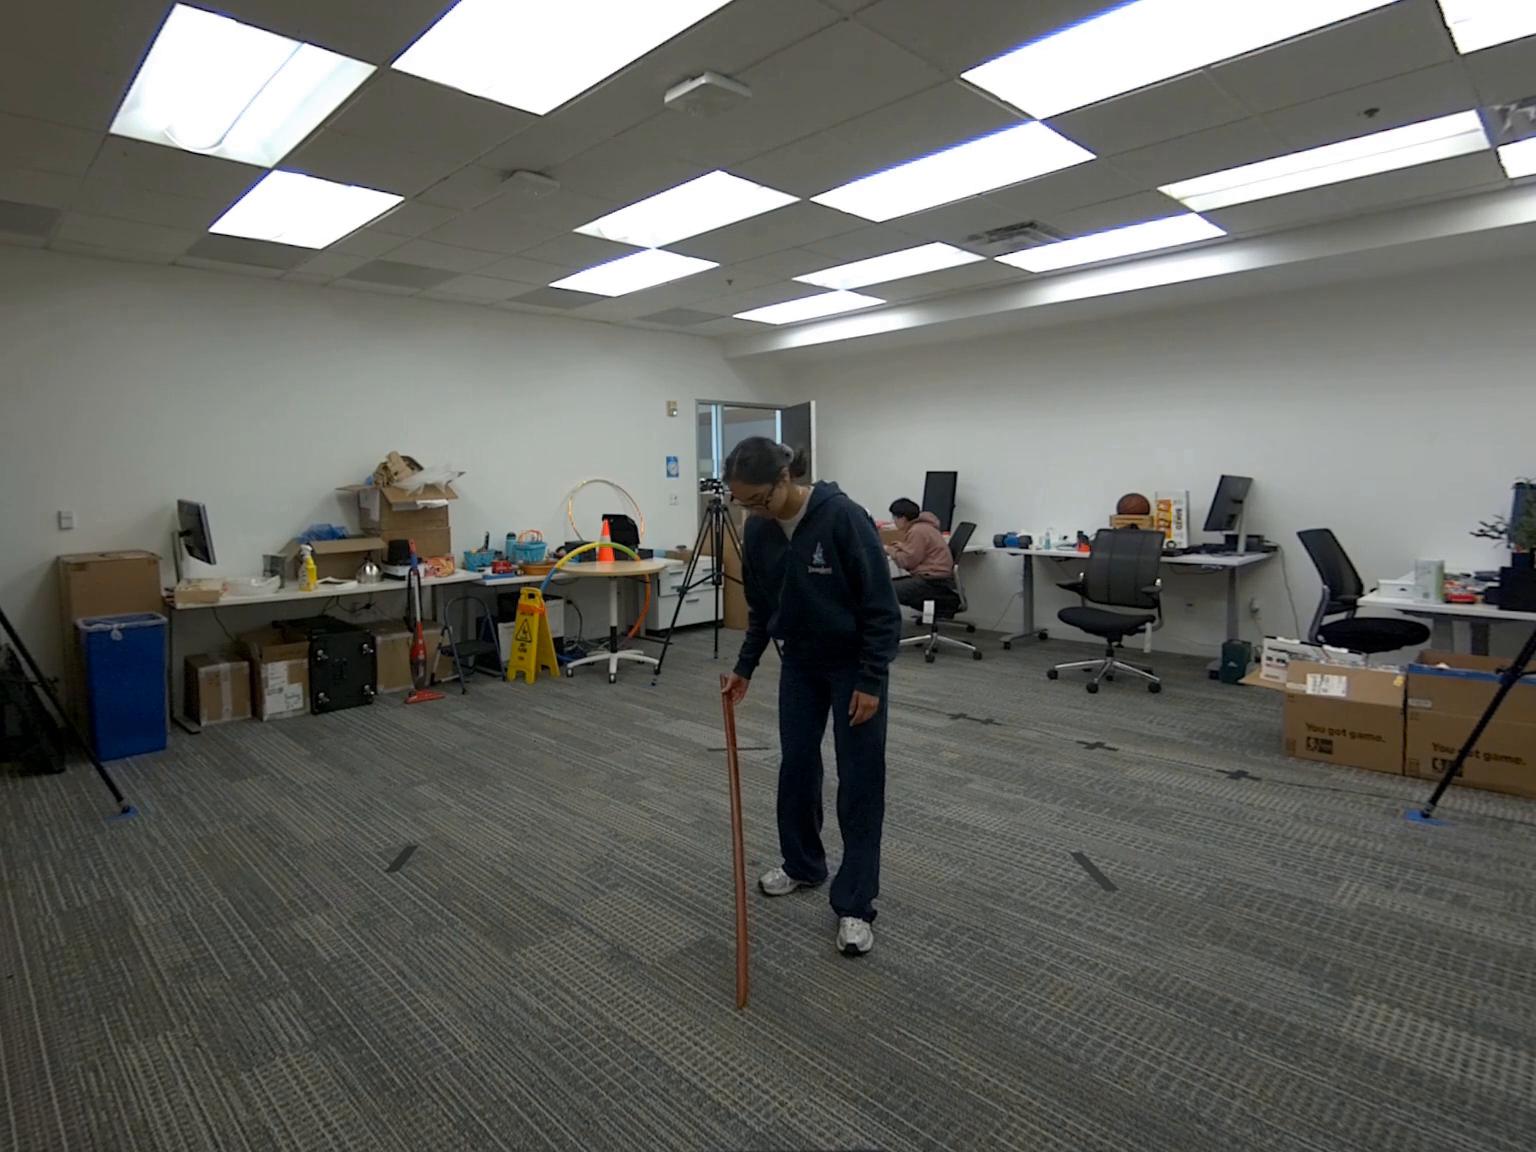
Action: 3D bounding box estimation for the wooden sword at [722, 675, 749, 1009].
[{"bbox_3d":[-0.101,0.748,2.602,0.052,1.056,0.023,-22,-43,16],"label":"wooden sword"}]
